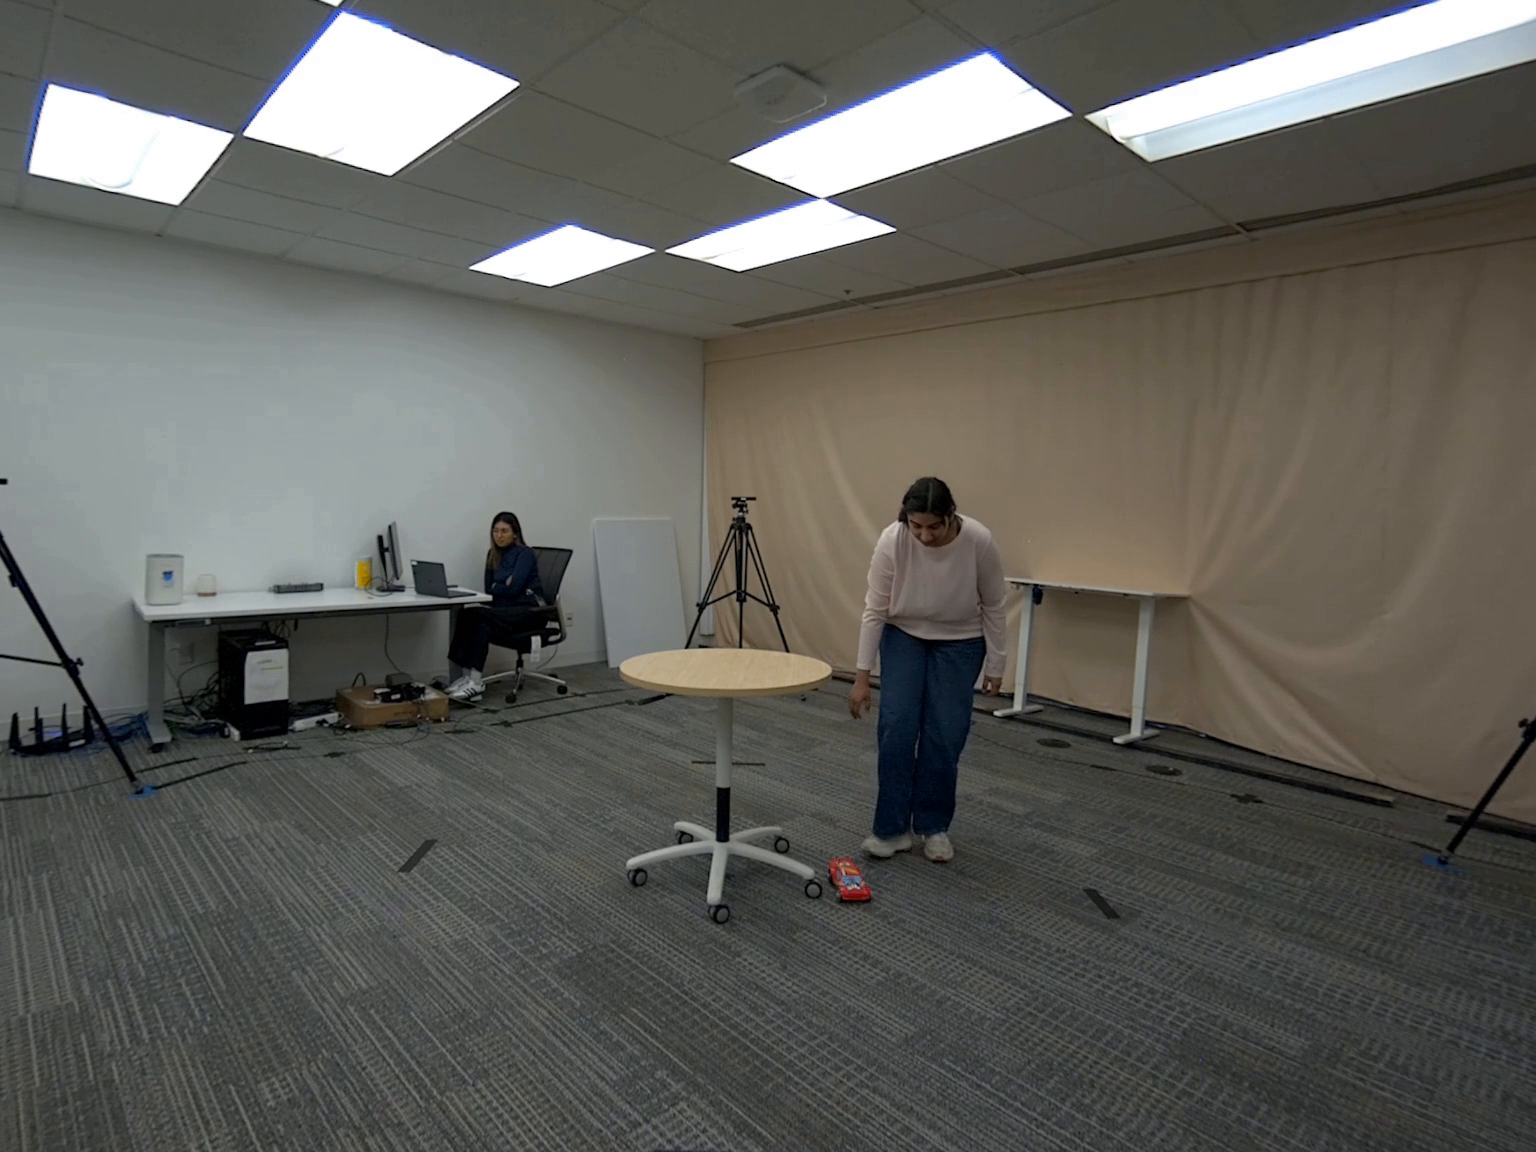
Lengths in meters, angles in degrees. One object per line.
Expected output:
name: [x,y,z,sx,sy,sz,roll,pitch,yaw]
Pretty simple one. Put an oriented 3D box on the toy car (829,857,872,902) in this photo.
toy car: [0.277,1.089,3.021,0.129,0.082,0.259,1,16,-8]
